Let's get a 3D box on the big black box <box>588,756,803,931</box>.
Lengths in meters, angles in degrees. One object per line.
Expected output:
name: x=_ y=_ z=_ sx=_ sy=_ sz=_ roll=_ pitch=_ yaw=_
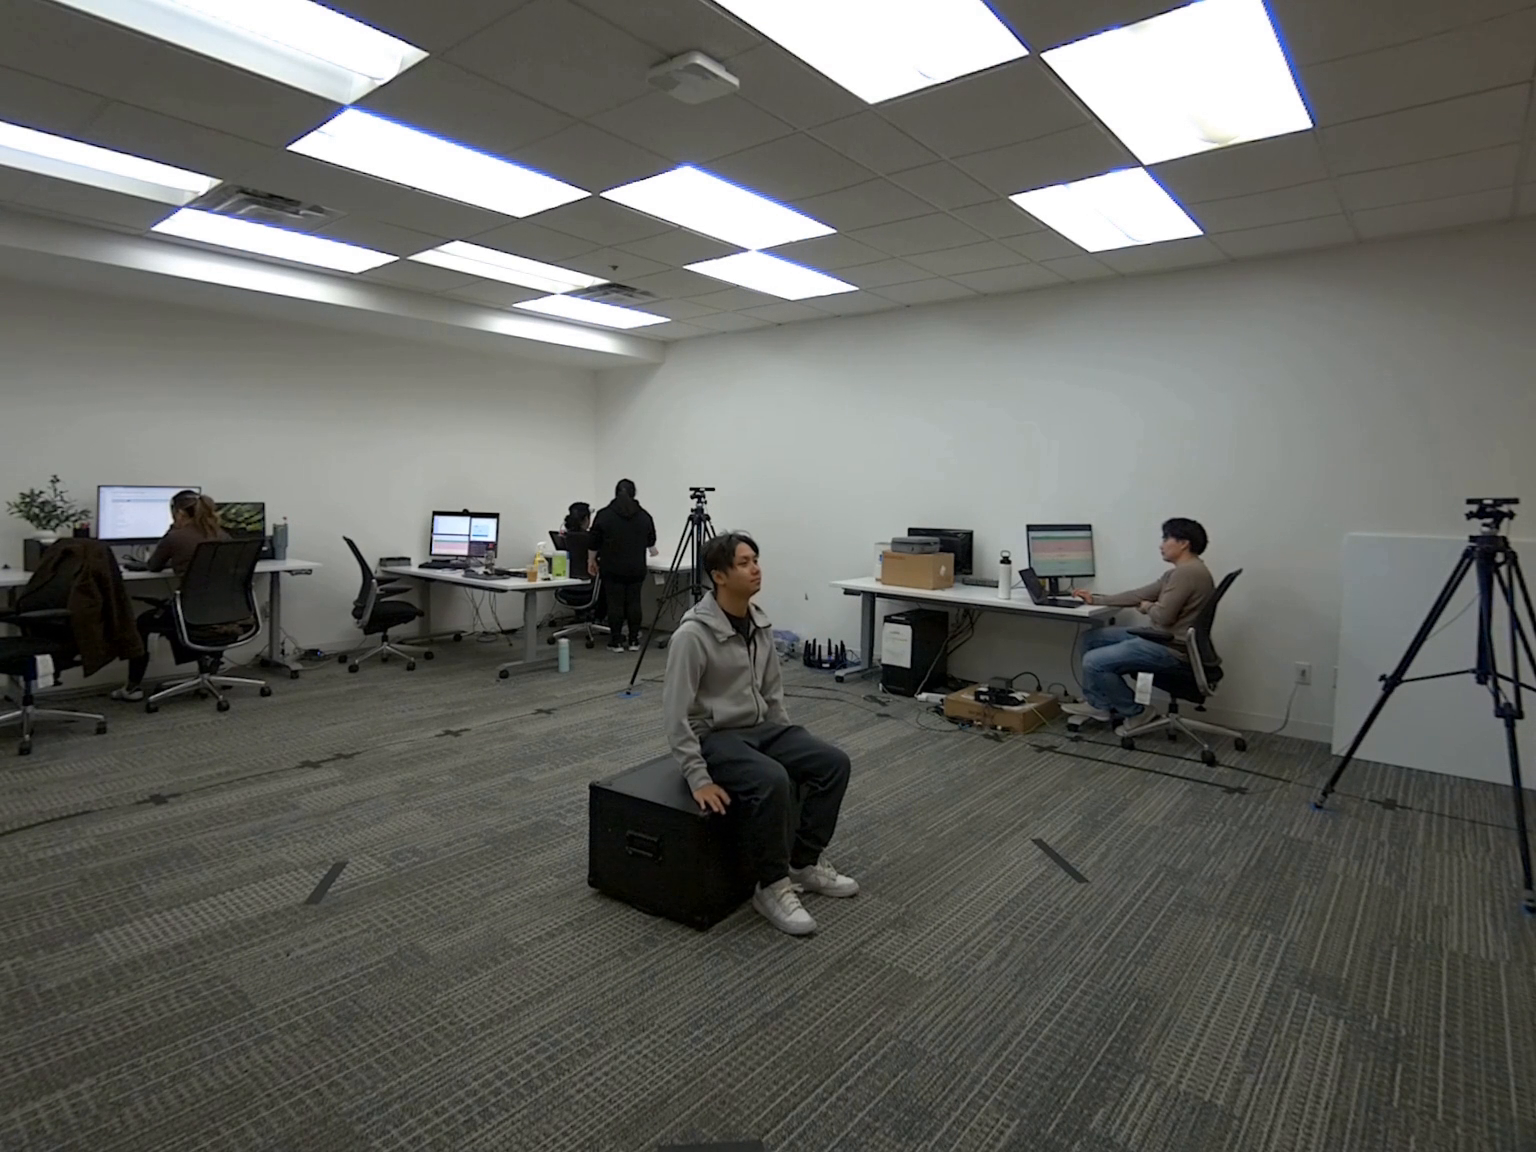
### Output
big black box: x=-0.239 y=0.883 z=3.059 sx=0.537 sy=0.395 sz=0.838 roll=4 pitch=6 yaw=31
